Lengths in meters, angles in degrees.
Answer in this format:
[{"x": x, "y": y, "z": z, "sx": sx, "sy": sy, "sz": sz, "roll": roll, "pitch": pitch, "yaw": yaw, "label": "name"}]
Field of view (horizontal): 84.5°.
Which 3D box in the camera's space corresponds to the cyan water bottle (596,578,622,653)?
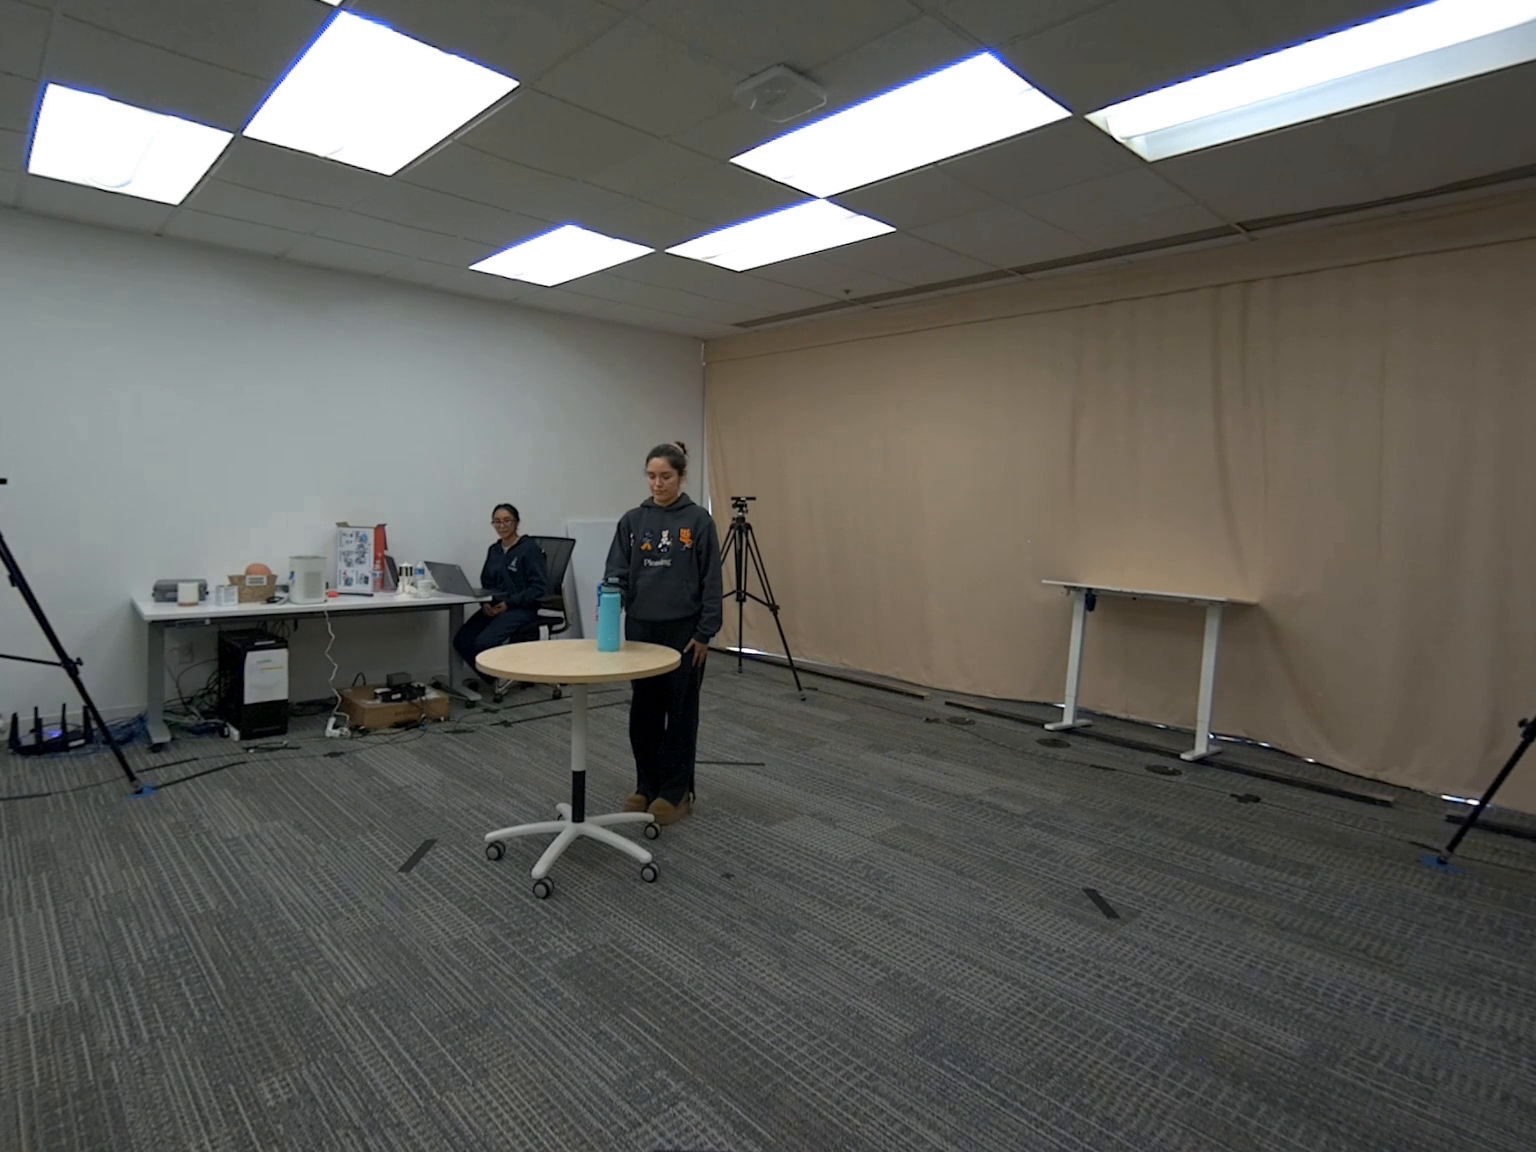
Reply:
[{"x": -0.647, "y": 0.152, "z": 3.328, "sx": 0.092, "sy": 0.282, "sz": 0.093, "roll": 0, "pitch": 5, "yaw": -1, "label": "cyan water bottle"}]
